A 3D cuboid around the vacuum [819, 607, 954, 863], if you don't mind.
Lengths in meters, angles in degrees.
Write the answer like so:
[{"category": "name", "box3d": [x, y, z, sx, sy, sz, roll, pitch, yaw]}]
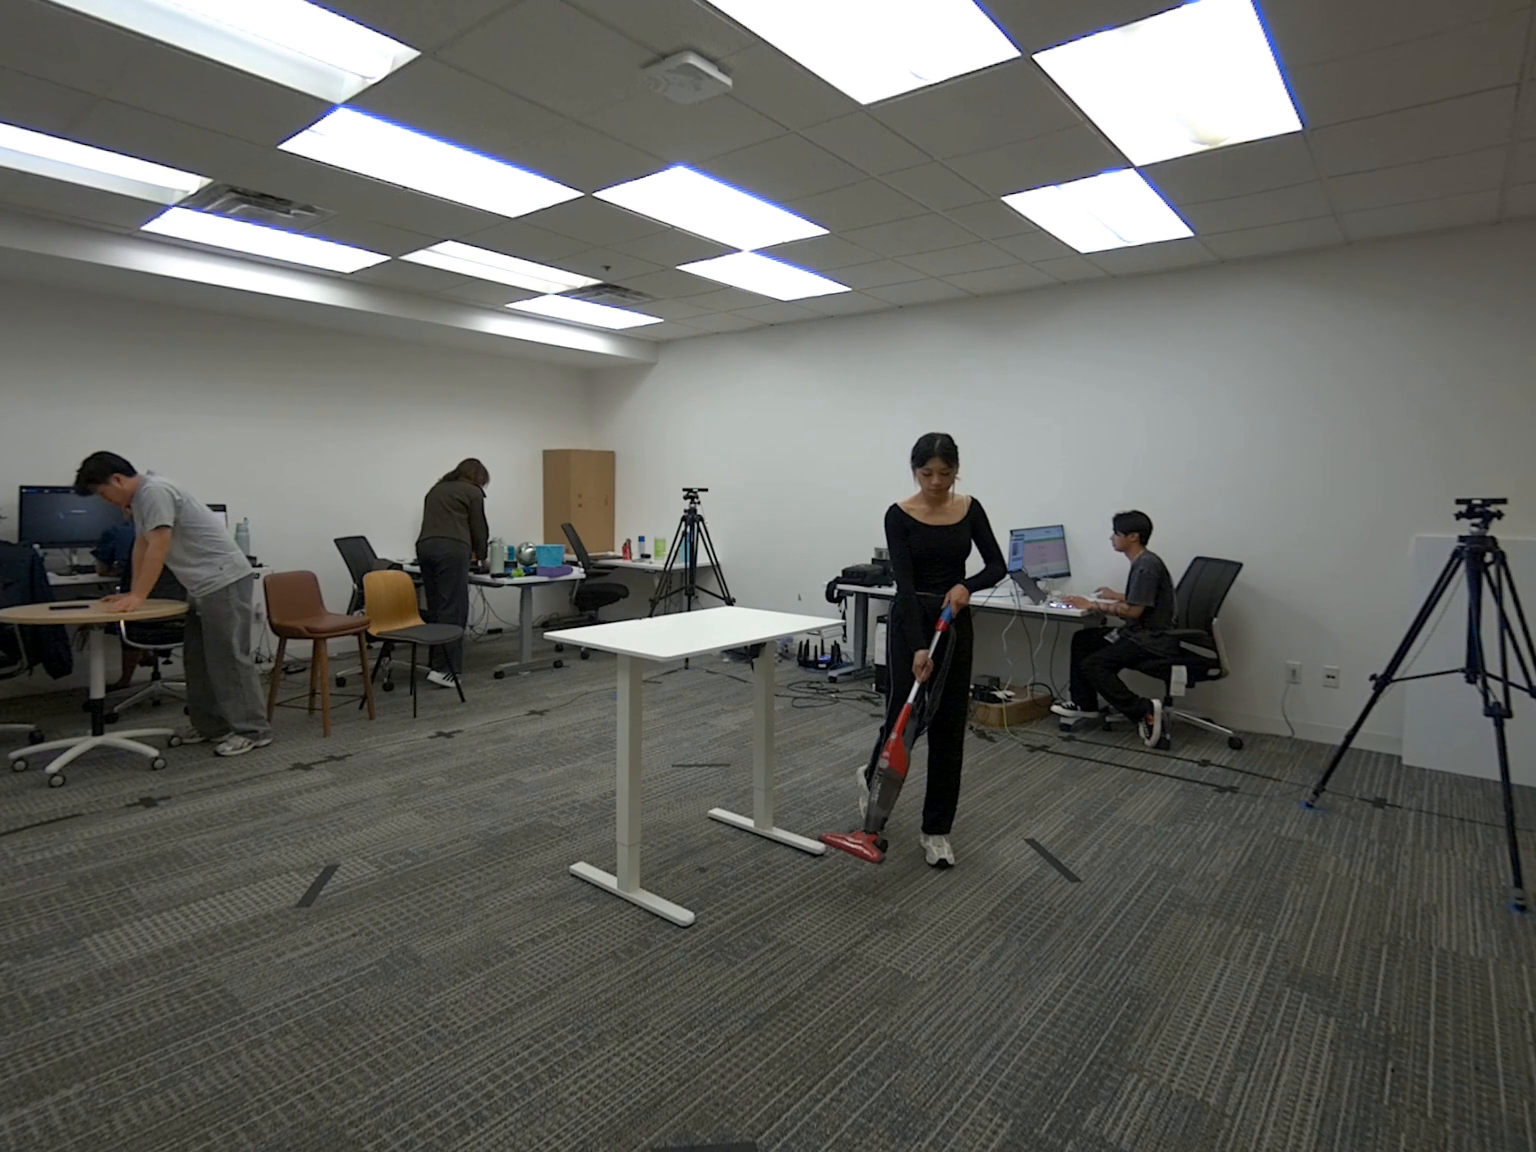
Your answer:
[{"category": "vacuum", "box3d": [0.515, 0.486, 3.027, 0.261, 1.056, 0.138, 7, -27, 47]}]
